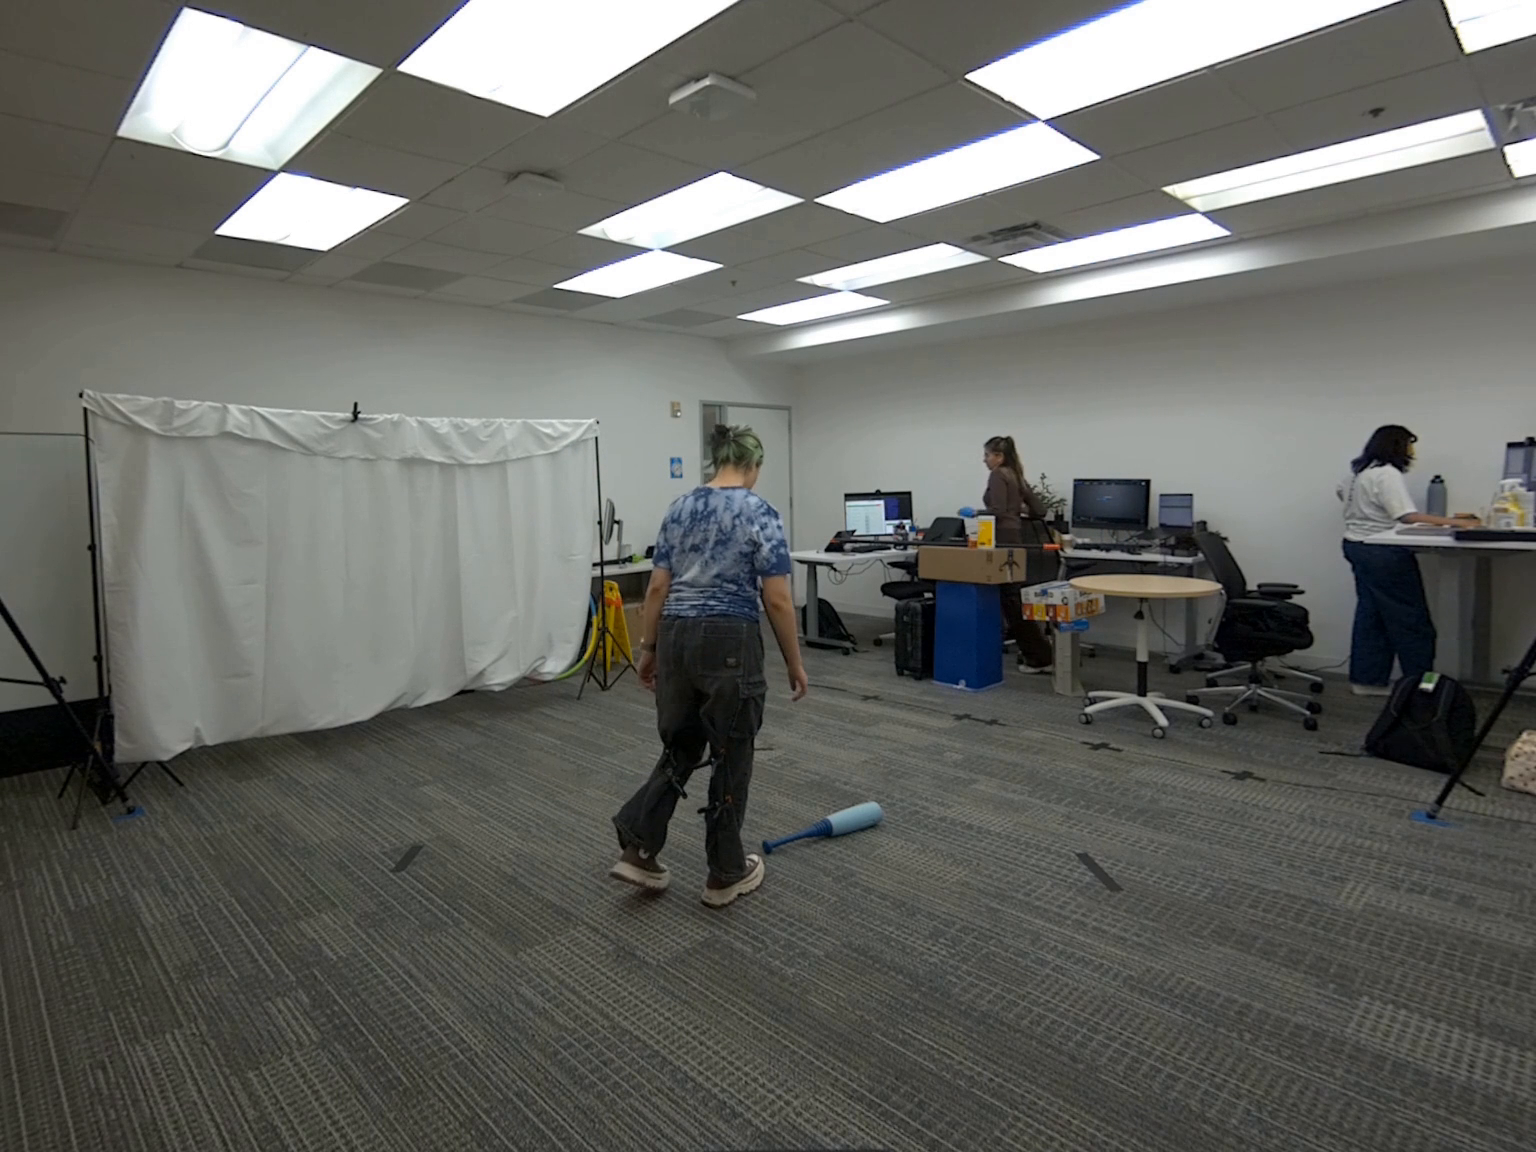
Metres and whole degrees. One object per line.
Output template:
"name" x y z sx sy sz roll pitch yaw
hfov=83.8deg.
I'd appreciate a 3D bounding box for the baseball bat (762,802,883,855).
"baseball bat" 0.217 0.987 3.319 0.531 0.088 0.091 -8 8 -29
